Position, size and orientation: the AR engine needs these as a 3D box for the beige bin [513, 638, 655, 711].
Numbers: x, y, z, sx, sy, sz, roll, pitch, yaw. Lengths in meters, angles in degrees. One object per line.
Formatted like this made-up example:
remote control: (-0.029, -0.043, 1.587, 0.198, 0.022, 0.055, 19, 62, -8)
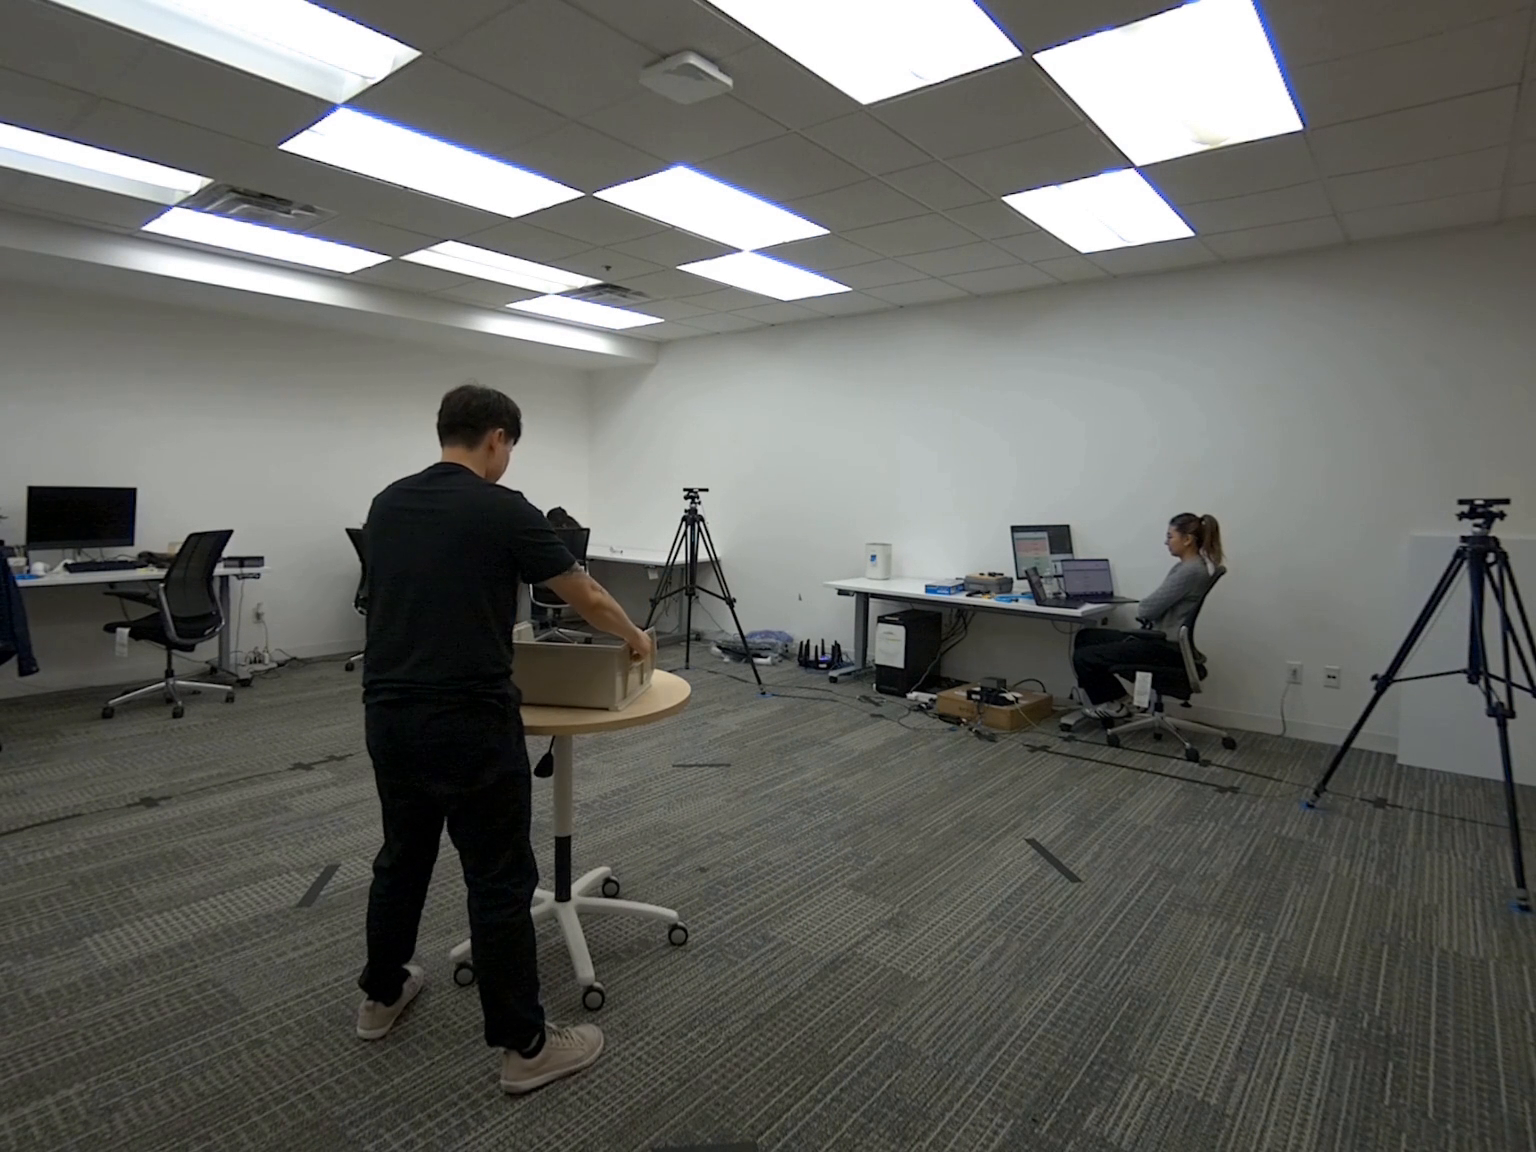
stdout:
beige bin: (-0.584, 0.256, 2.496, 0.427, 0.188, 0.375, 2, 6, 8)
